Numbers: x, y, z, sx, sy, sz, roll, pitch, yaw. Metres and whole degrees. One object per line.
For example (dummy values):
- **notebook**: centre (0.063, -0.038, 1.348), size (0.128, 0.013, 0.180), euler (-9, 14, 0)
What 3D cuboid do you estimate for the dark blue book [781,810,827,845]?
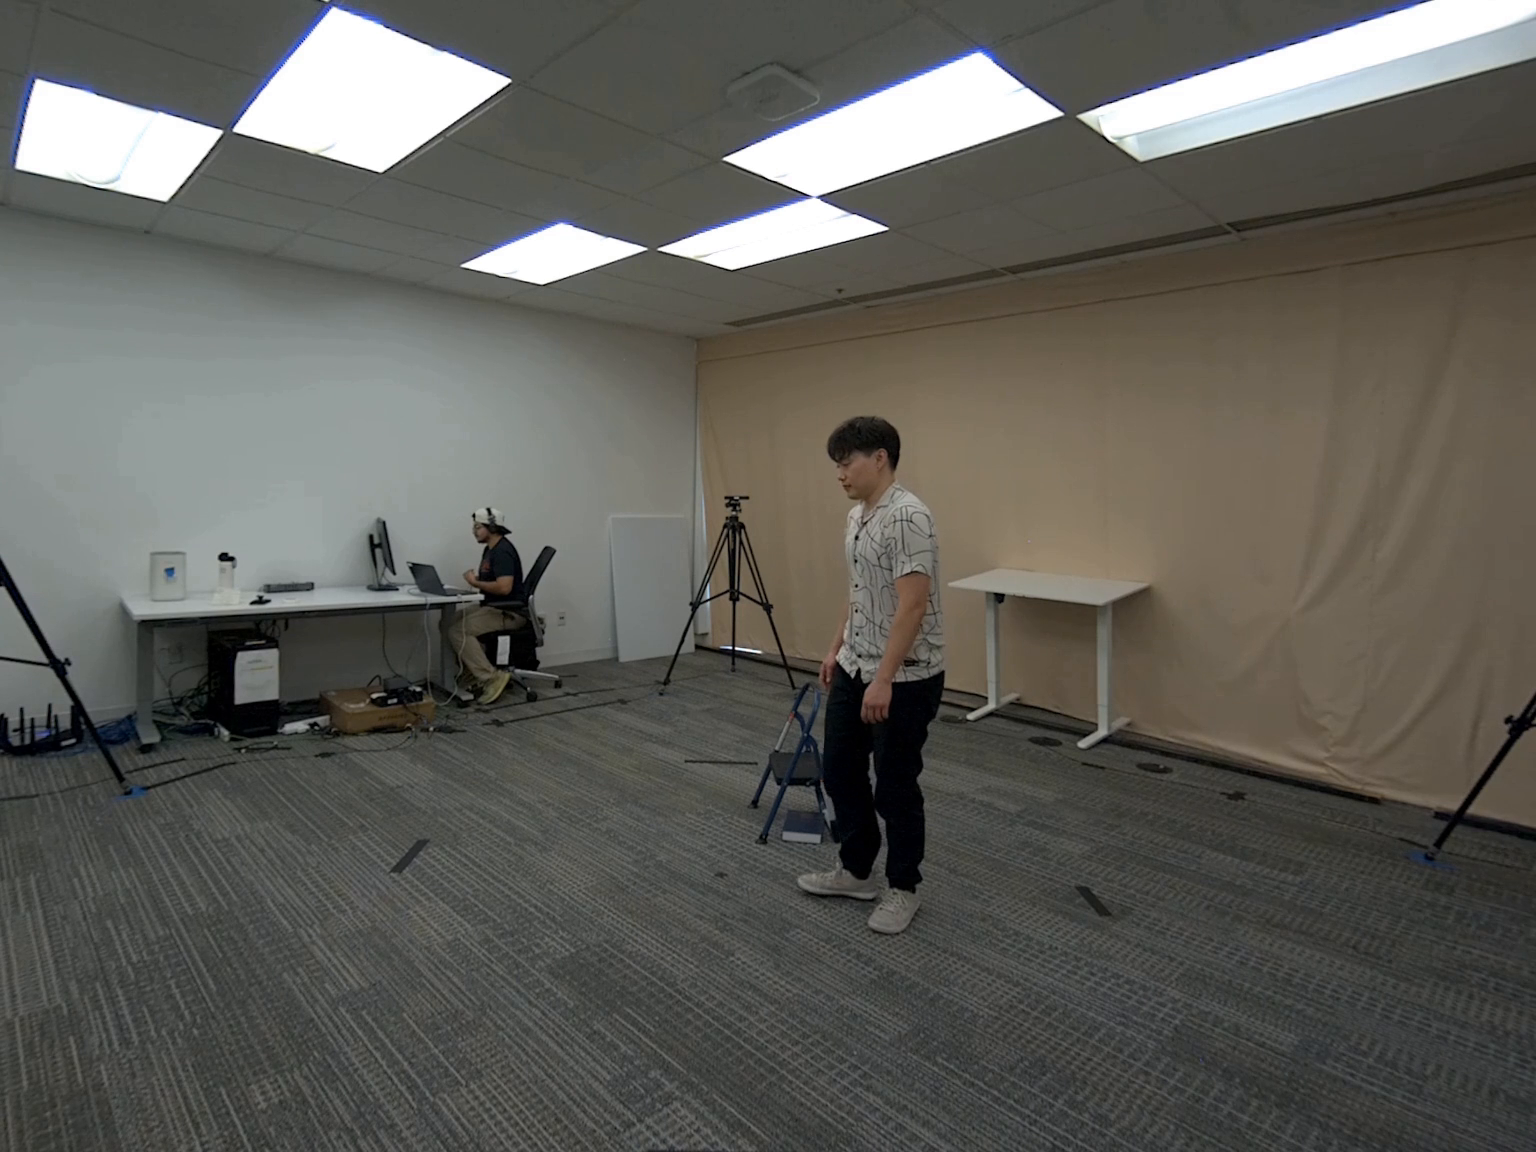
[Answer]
- **dark blue book**: centre (0.131, 1.058, 3.544), size (0.164, 0.045, 0.244), euler (4, 5, 7)
